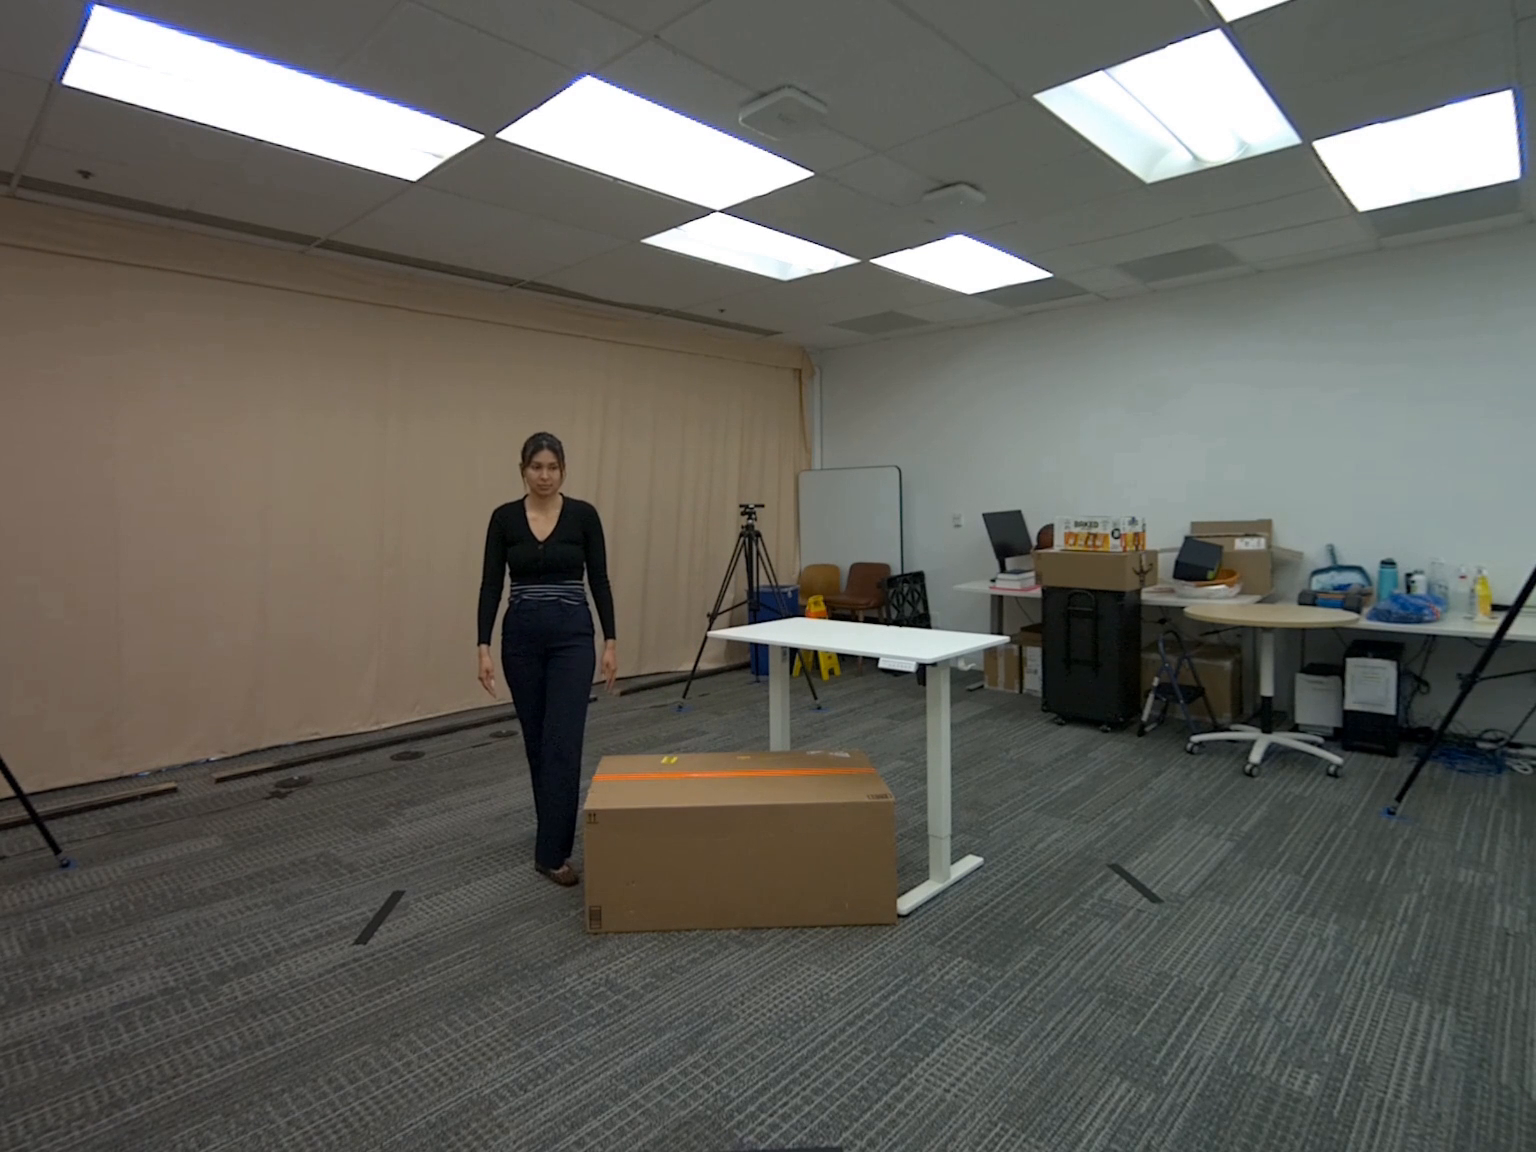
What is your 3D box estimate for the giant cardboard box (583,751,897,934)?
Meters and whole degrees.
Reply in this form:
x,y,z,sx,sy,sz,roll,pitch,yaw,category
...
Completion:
x,y,z,sx,sy,sz,roll,pitch,yaw,category
-0.113,0.923,3.027,1.024,0.425,0.580,-1,3,-2,giant cardboard box
